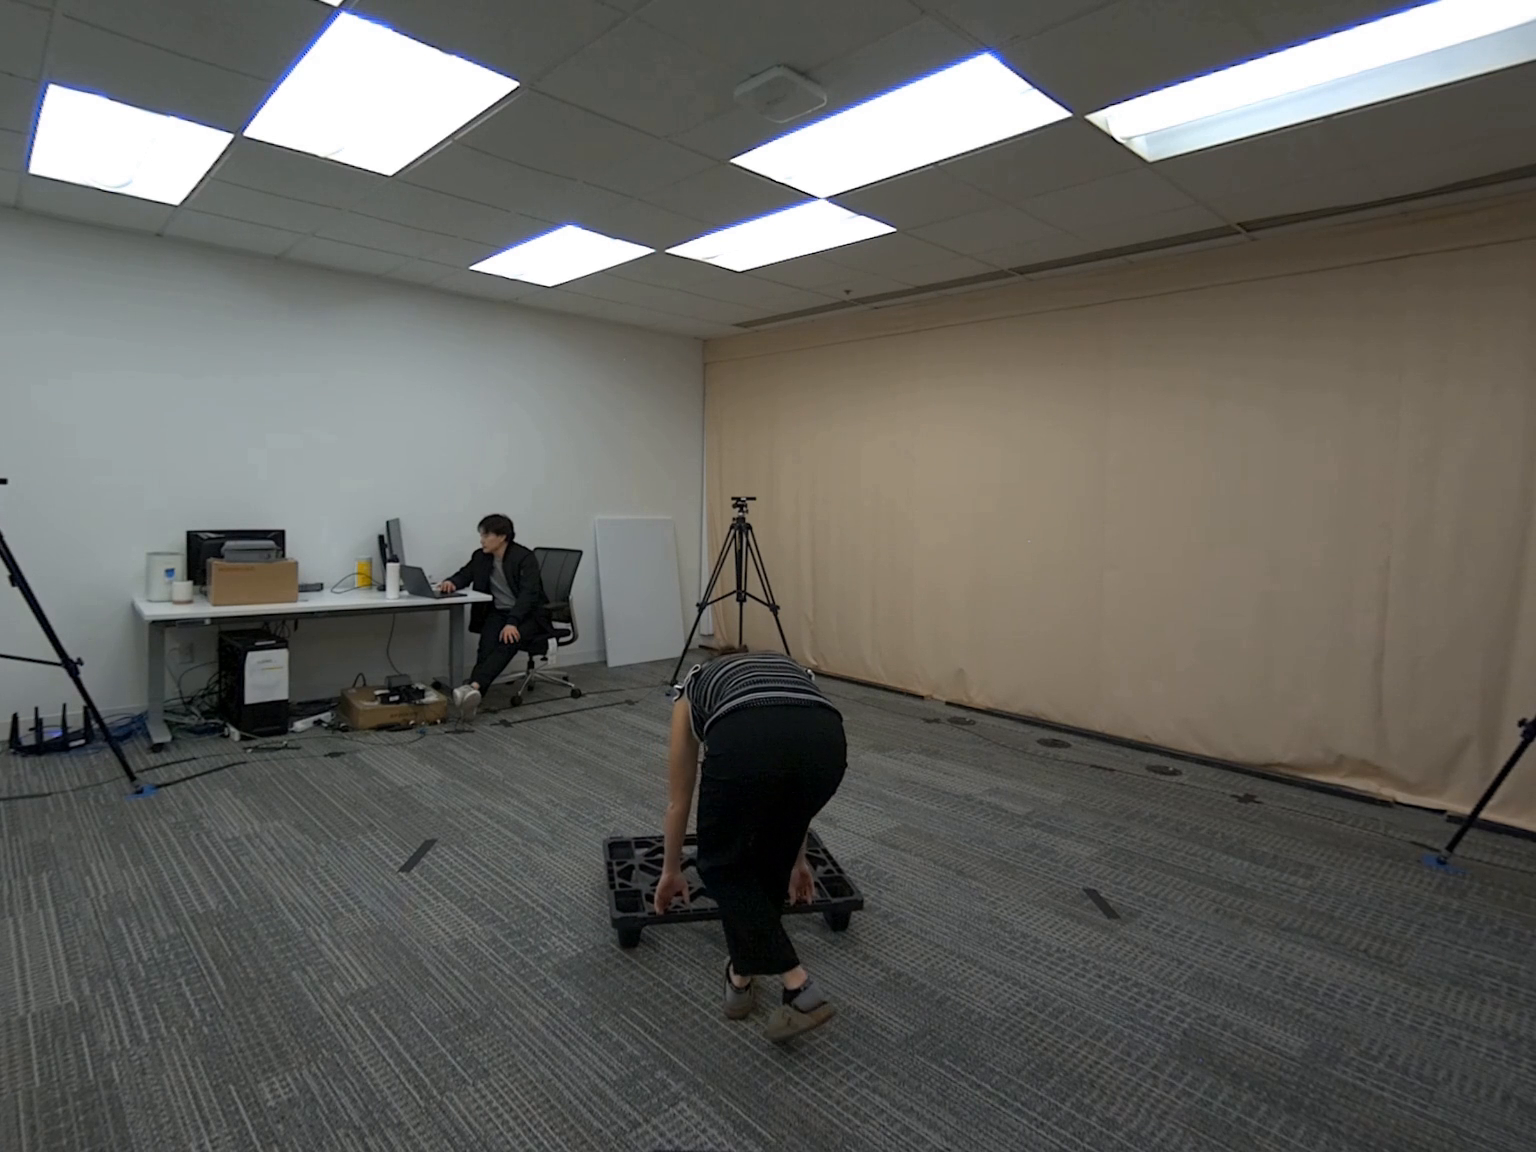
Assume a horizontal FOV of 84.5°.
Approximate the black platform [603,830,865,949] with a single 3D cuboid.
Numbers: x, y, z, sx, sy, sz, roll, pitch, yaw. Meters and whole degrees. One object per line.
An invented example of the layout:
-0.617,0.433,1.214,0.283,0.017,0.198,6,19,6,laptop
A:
-0.162,1.058,2.883,0.798,0.143,0.612,0,5,-12,black platform
